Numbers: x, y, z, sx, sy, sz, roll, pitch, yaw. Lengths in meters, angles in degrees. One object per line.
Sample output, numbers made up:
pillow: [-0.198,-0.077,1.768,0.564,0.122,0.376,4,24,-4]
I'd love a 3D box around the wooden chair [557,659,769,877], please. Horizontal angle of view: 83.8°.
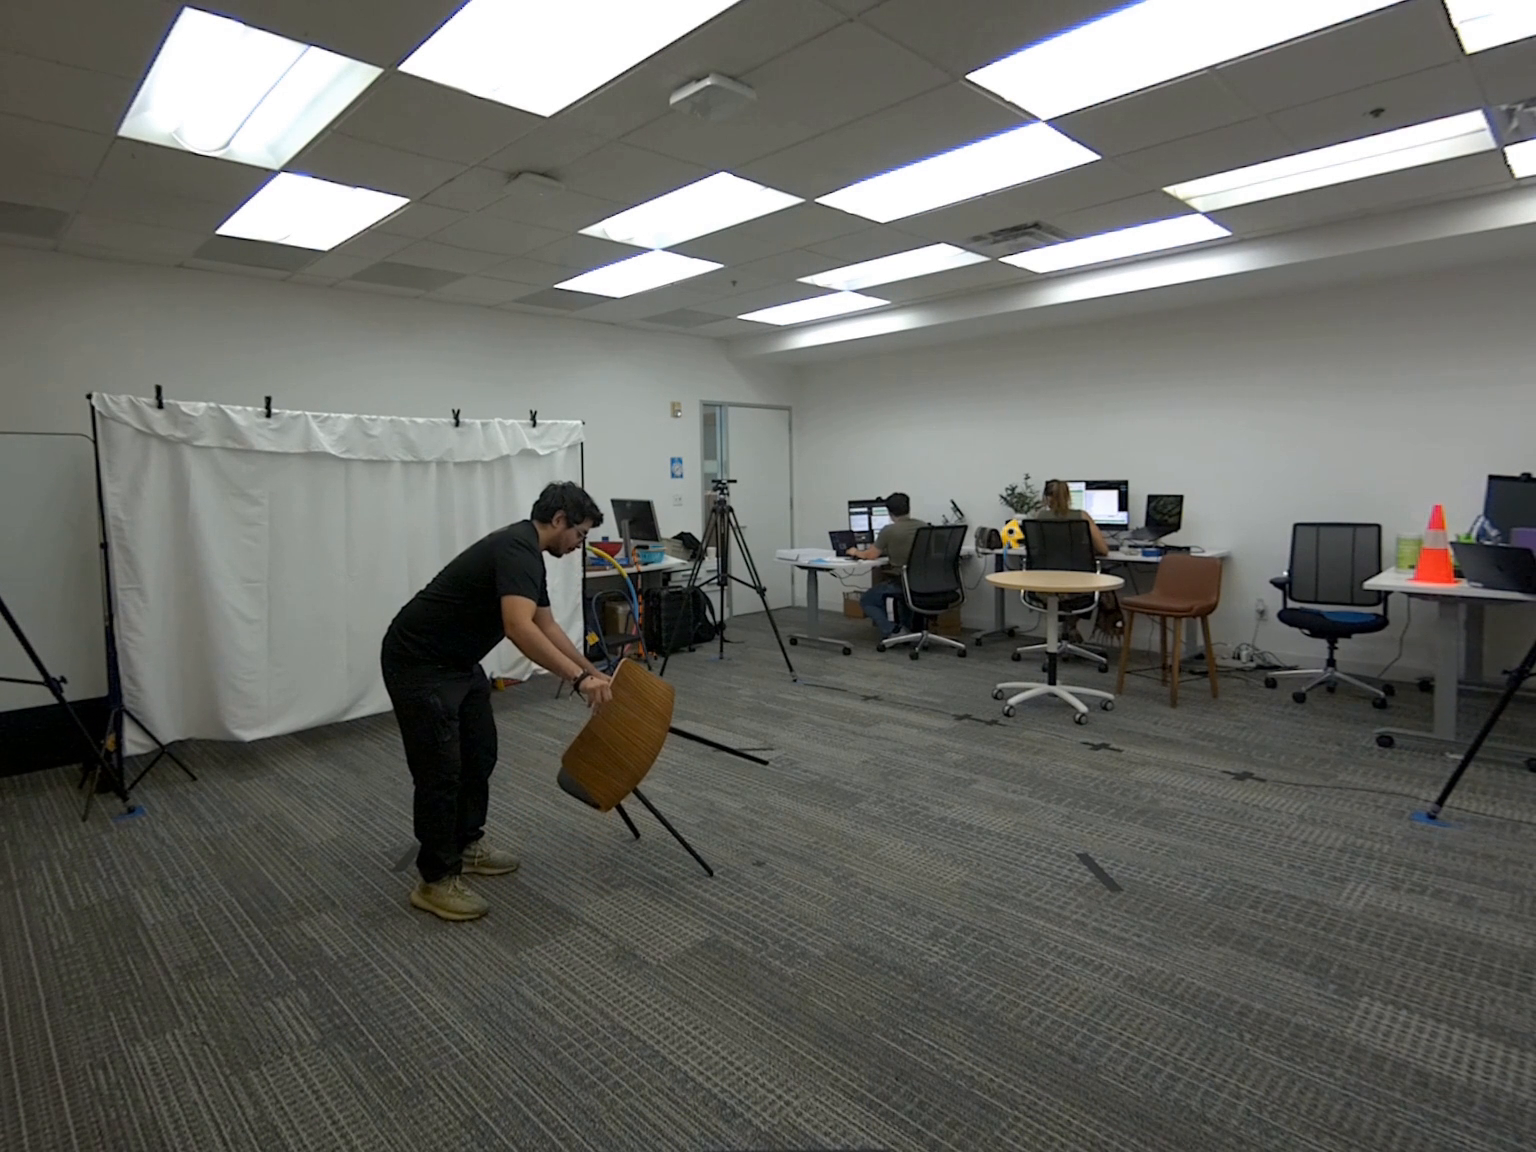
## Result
wooden chair: [-0.495,0.616,3.039,0.540,0.481,0.844,8,-31,43]
